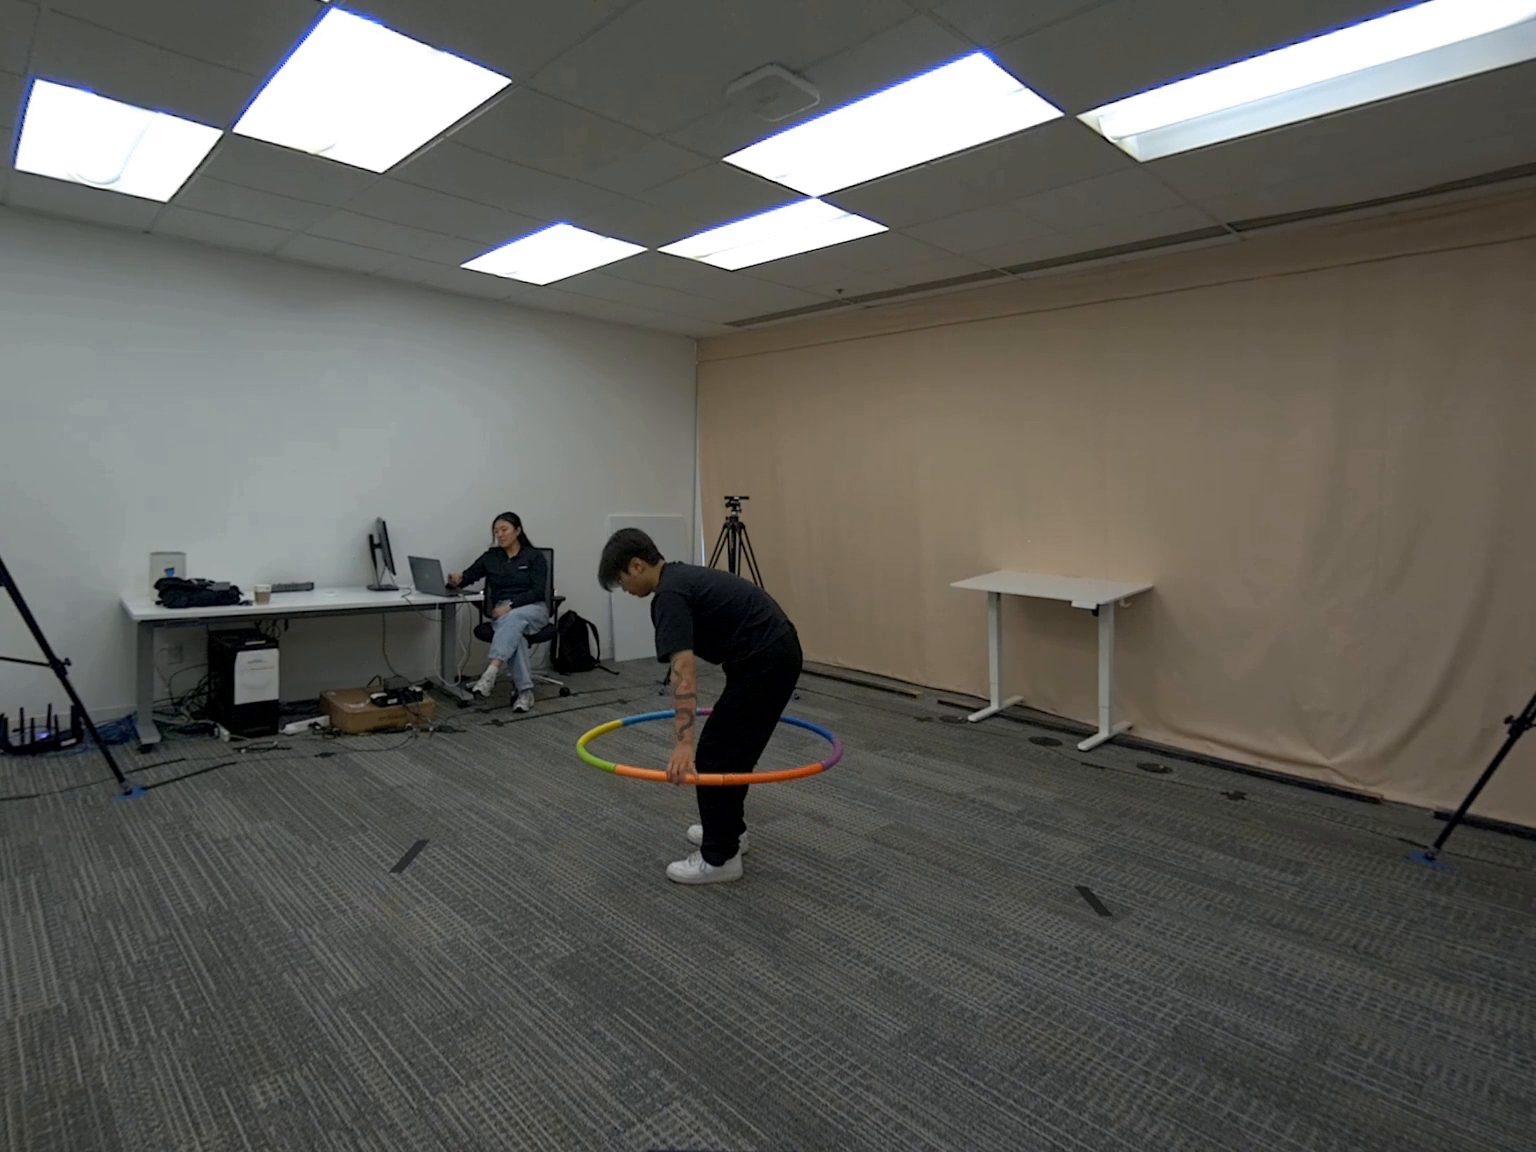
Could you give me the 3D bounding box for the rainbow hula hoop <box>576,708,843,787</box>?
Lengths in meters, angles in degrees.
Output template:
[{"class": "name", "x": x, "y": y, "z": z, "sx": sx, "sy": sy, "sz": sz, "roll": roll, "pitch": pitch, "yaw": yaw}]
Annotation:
[{"class": "rainbow hula hoop", "x": -0.217, "y": 0.616, "z": 3.152, "sx": 0.978, "sy": 0.035, "sz": 0.981, "roll": 0, "pitch": 4, "yaw": -1}]
